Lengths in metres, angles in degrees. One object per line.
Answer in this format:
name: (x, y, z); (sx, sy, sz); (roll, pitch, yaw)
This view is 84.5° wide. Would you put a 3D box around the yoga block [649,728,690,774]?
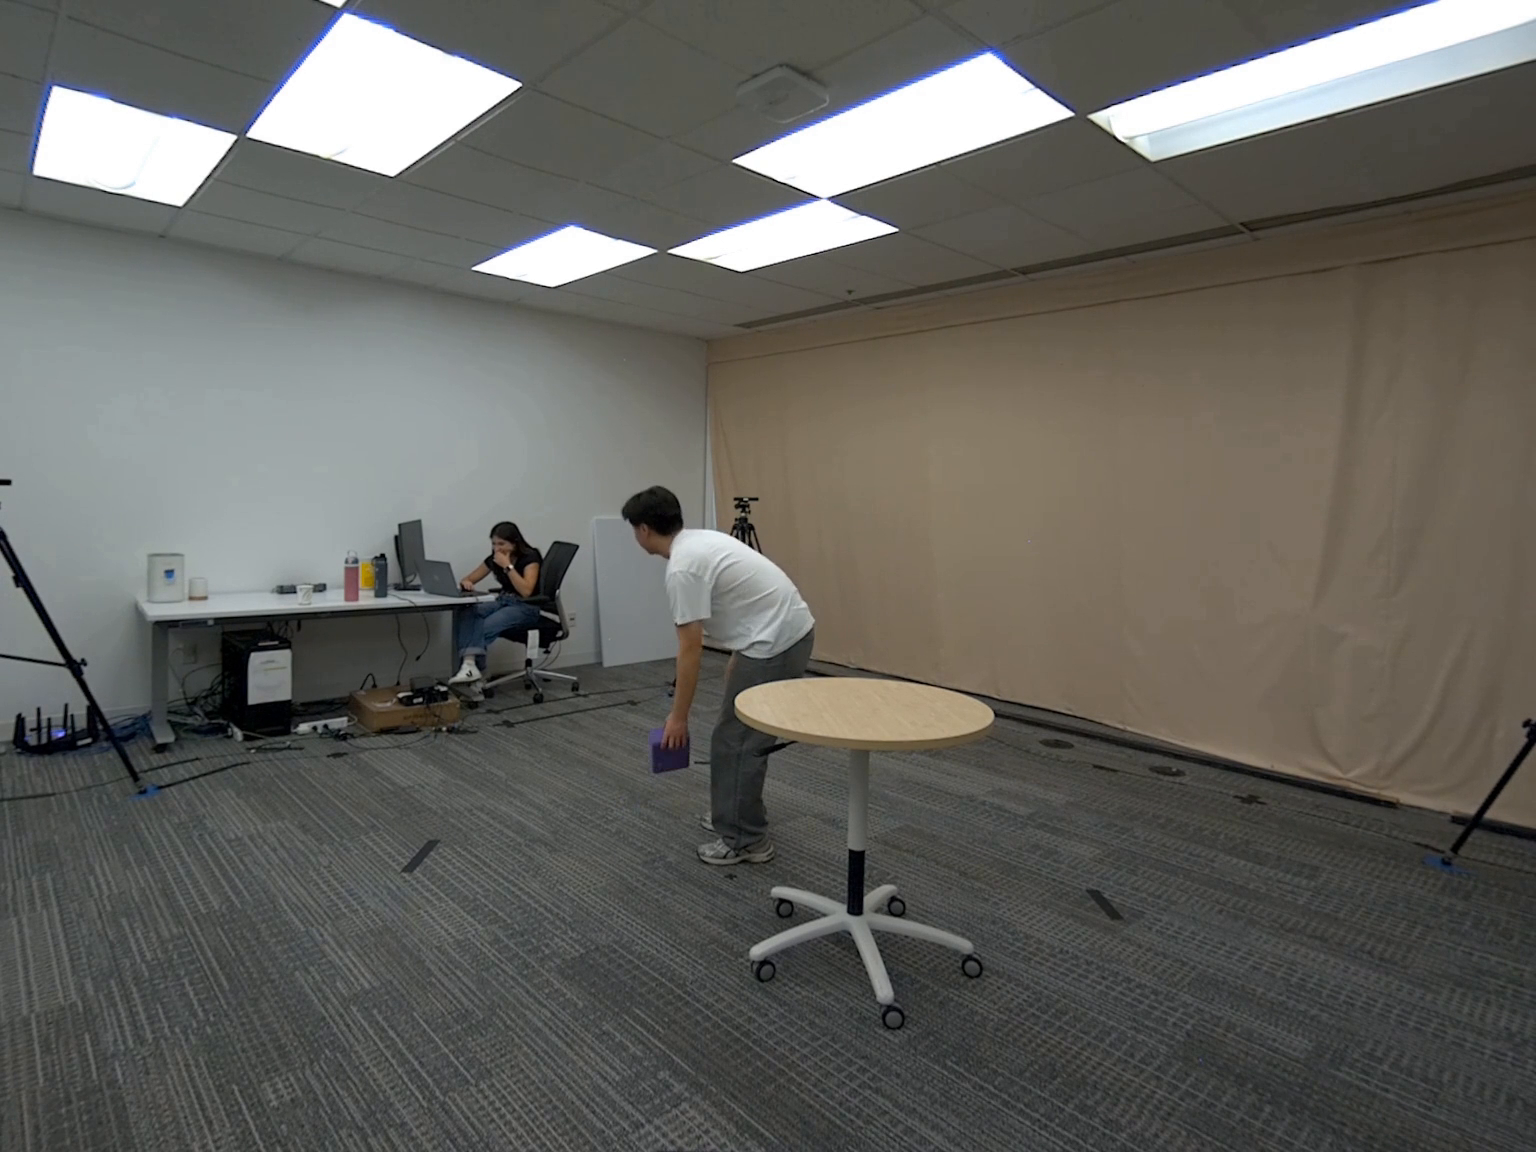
yoga block: (-0.399, 0.674, 3.317); (0.148, 0.224, 0.078); (-6, 47, -10)
